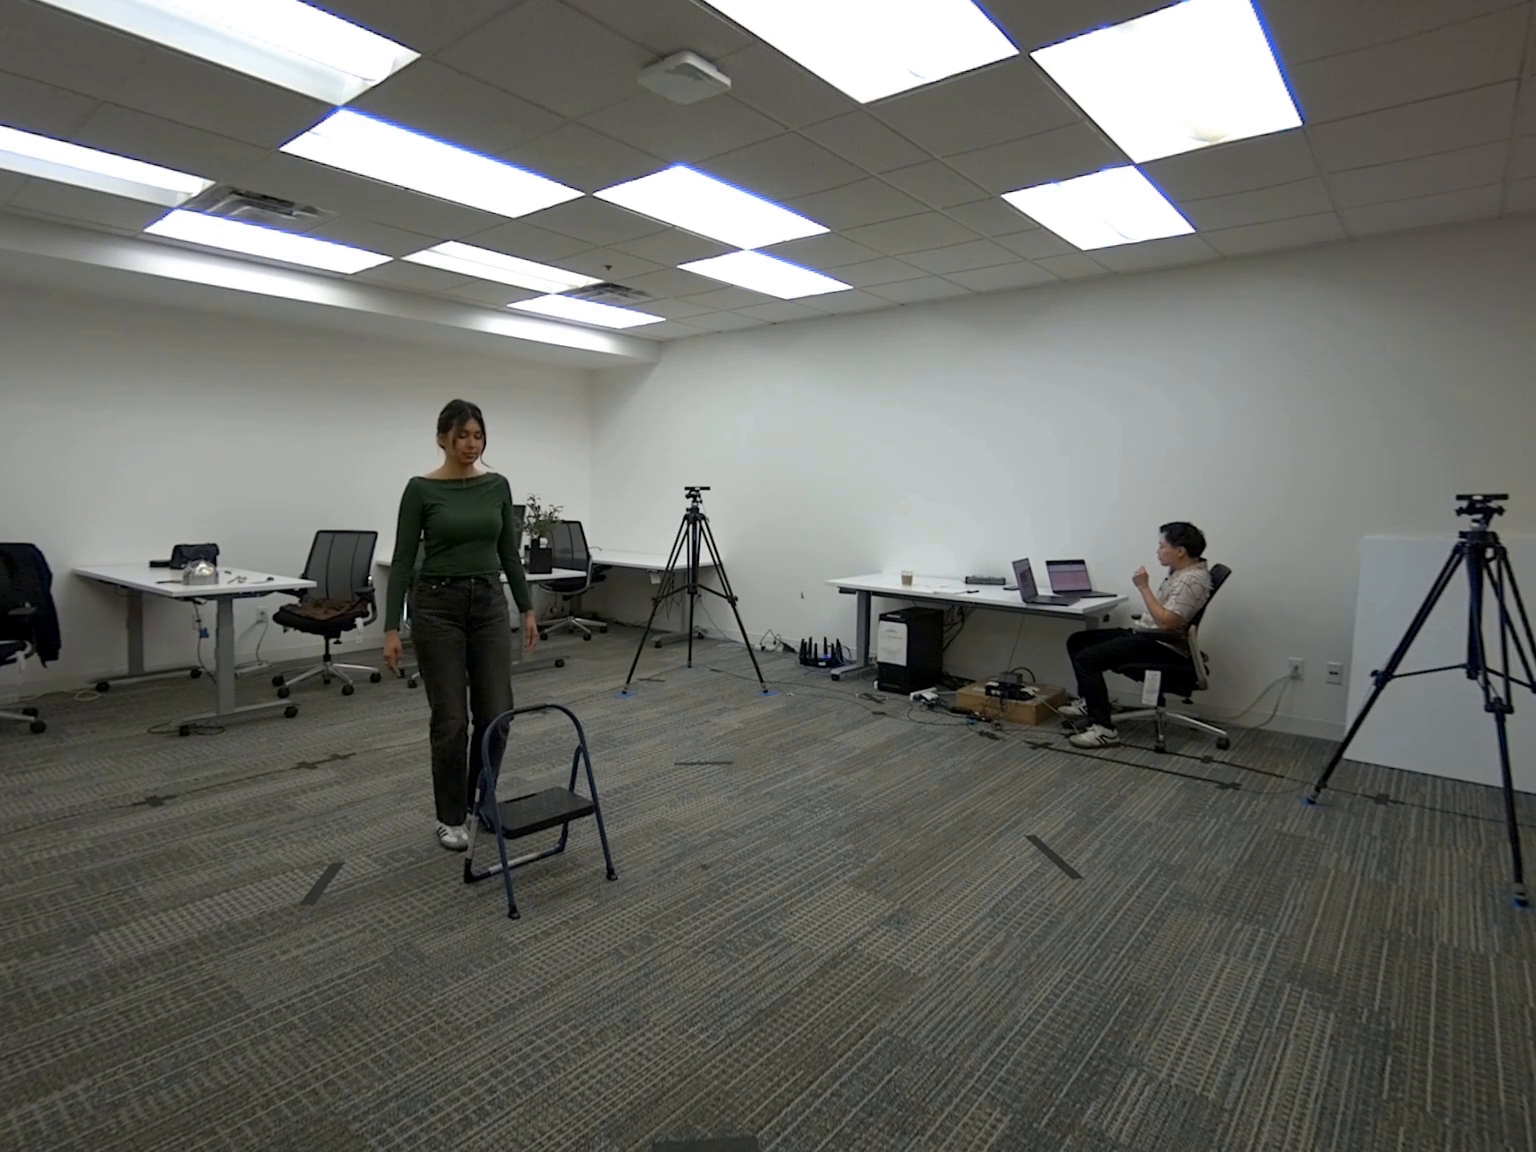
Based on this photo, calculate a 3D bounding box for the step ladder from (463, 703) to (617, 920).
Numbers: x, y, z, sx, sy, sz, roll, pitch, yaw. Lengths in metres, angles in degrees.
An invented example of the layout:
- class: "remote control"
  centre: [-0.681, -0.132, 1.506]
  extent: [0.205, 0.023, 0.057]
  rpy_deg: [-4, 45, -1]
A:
- class: "step ladder"
  centre: [-0.807, 0.767, 2.974]
  extent: [0.361, 0.604, 0.417]
  rpy_deg: [3, 4, 43]
